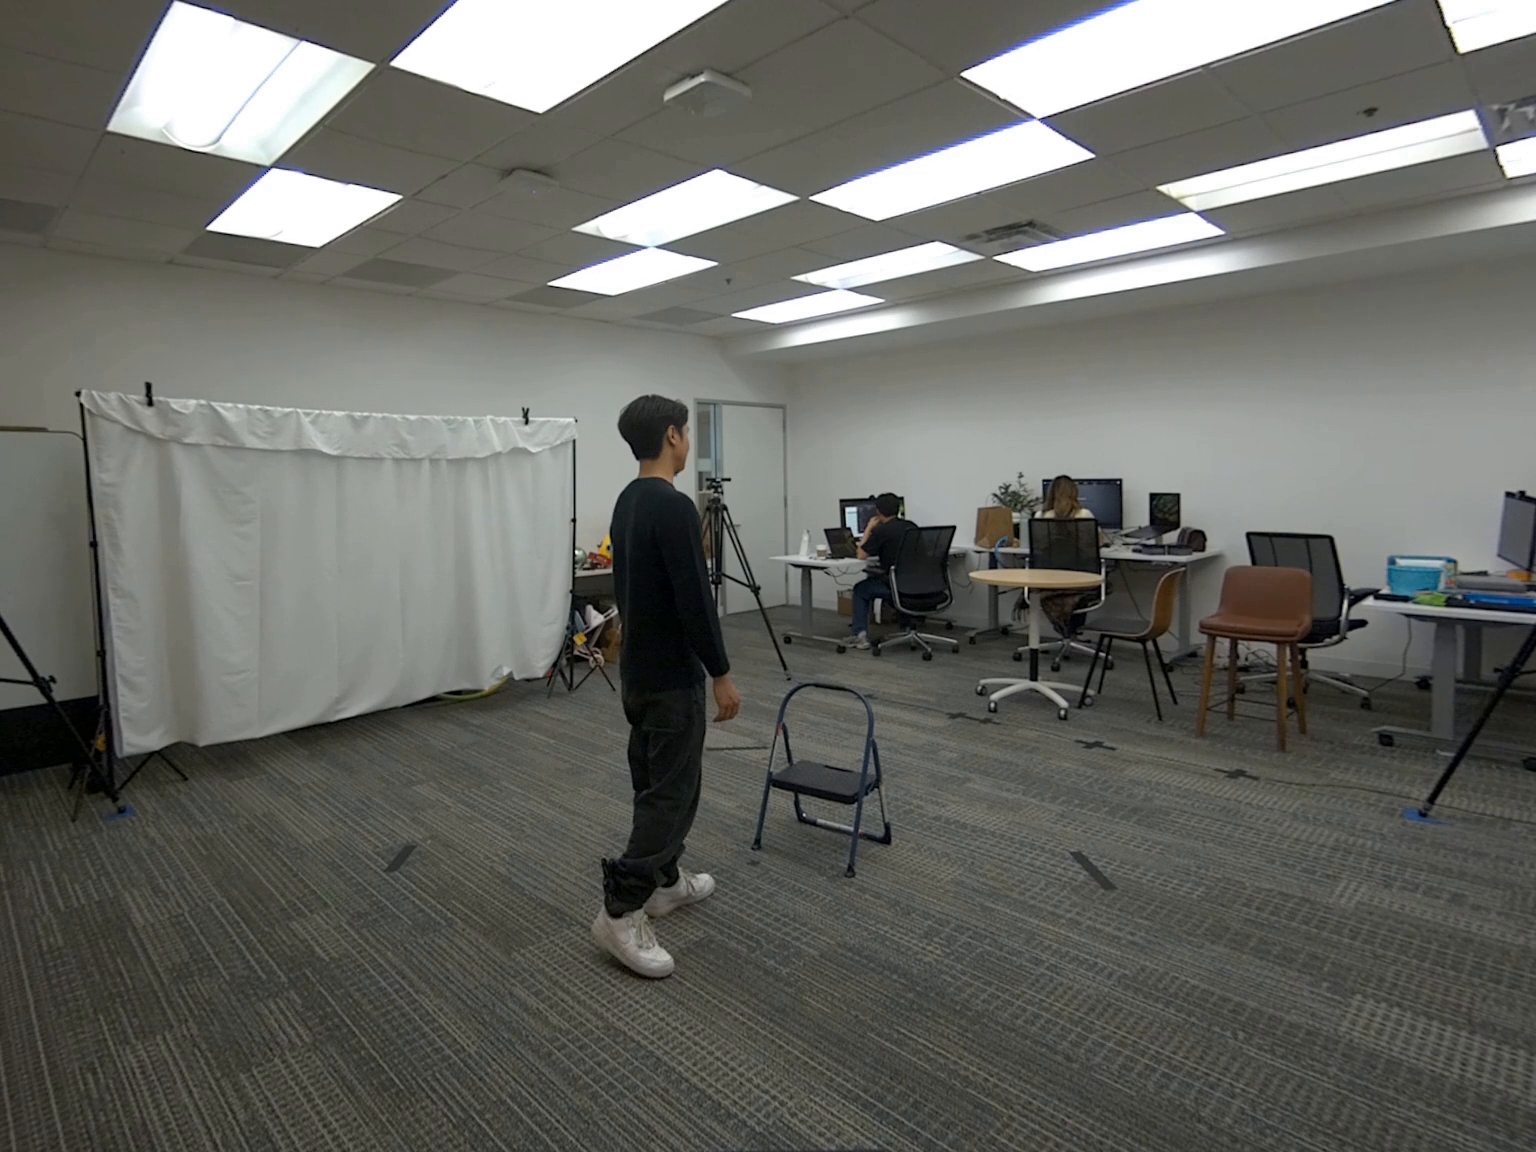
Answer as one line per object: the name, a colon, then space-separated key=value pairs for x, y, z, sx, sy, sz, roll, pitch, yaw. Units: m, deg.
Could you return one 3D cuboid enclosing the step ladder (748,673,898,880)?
step ladder: x=0.209 y=0.721 z=3.220 sx=0.443 sy=0.604 sz=0.341 roll=2 pitch=5 yaw=35
